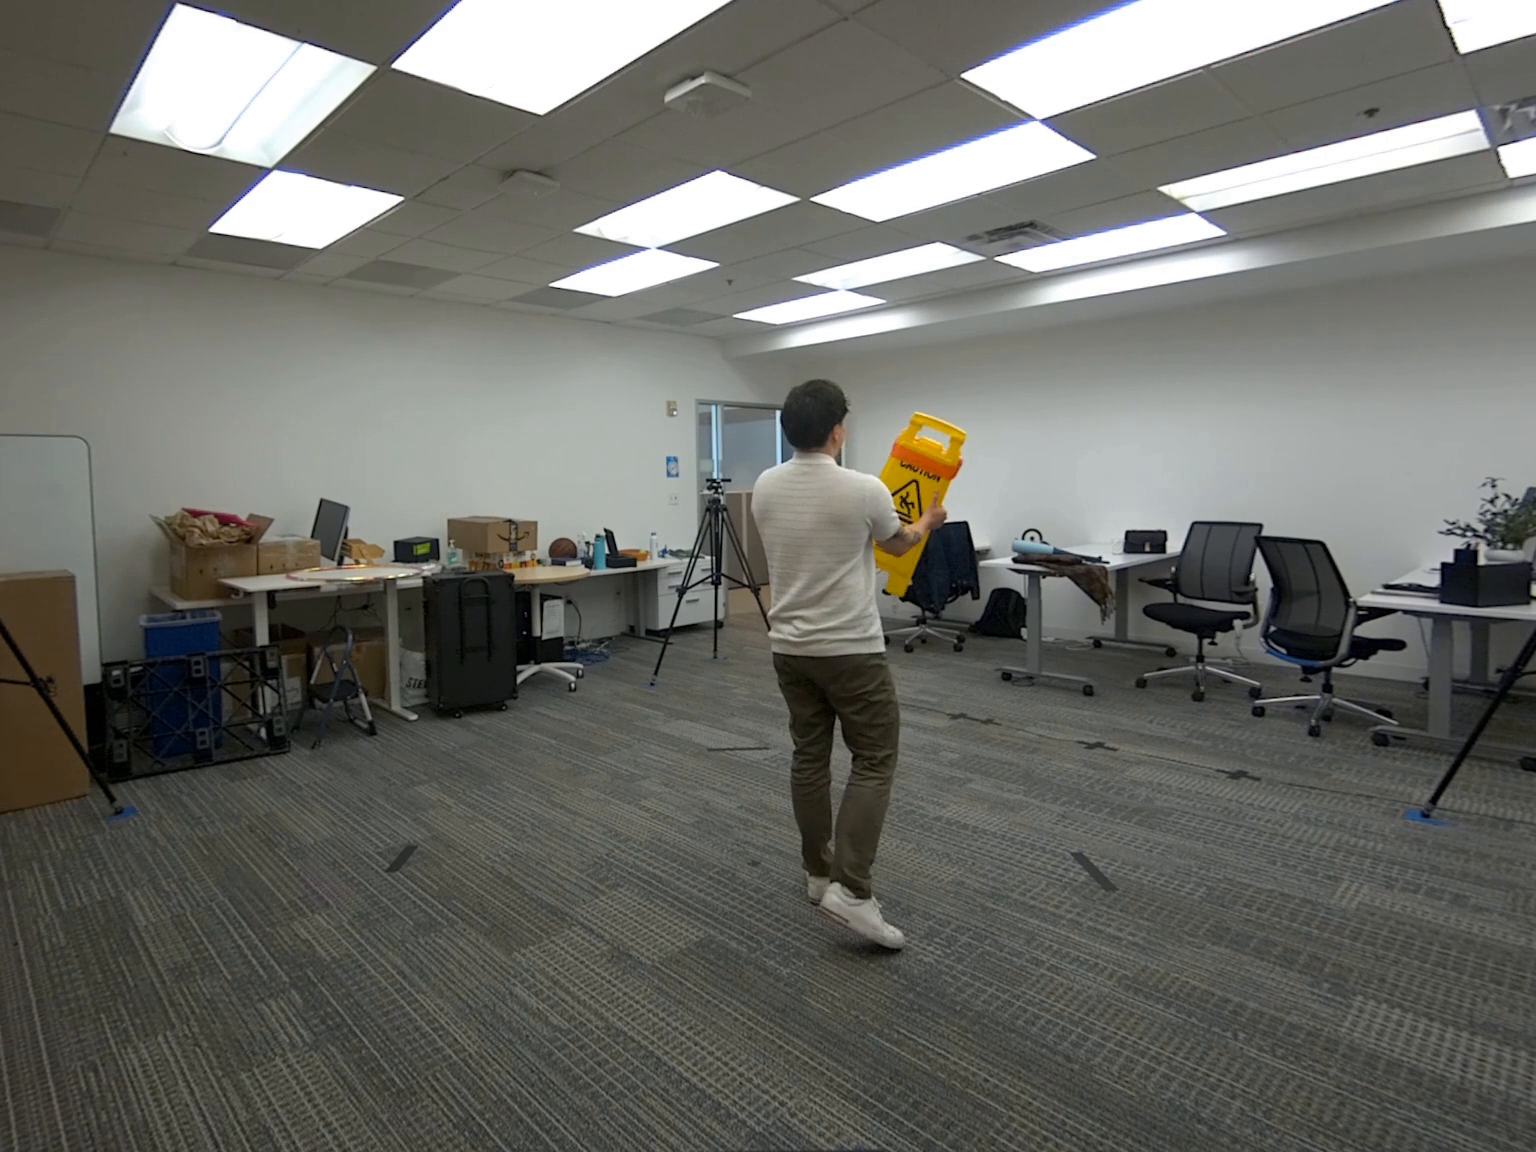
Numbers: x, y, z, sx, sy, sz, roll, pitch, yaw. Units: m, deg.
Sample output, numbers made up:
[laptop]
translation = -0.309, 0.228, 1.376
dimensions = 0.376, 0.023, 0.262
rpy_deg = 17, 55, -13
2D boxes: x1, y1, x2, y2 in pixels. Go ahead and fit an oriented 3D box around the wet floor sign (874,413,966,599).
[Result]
[wet floor sign]
translation = 0.514, -0.288, 3.133
dimensions = 0.285, 0.636, 0.291
rpy_deg = 25, 34, 6
